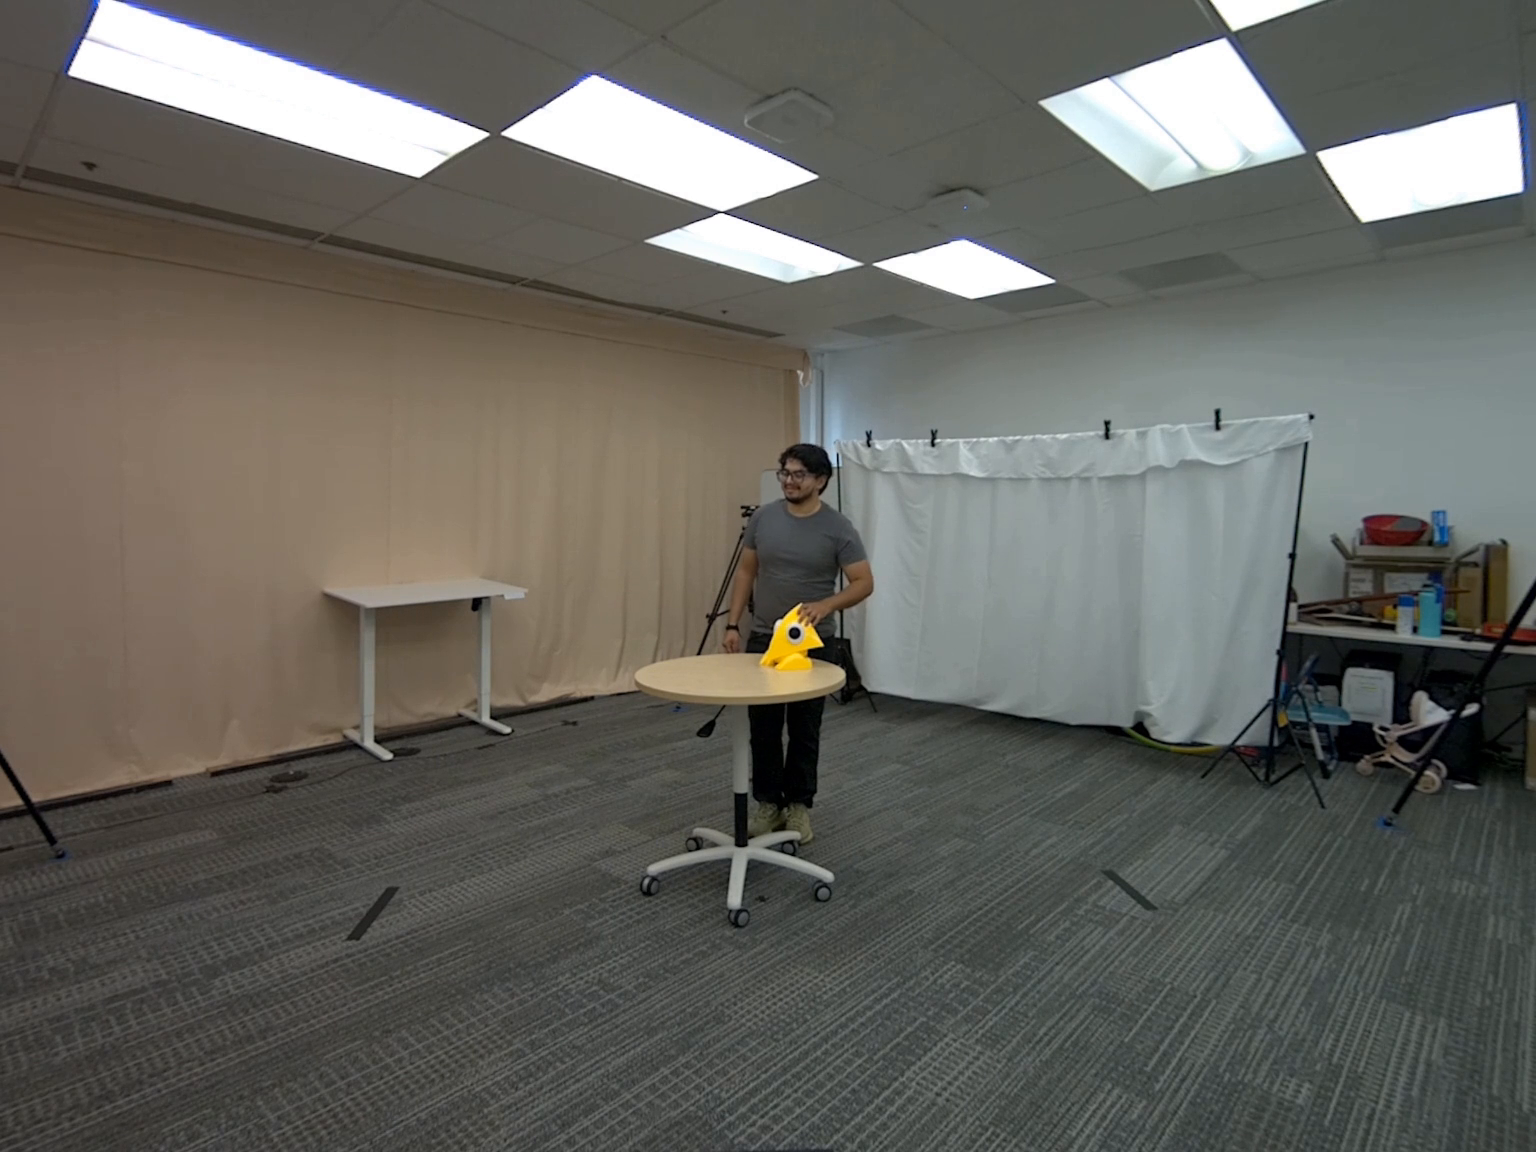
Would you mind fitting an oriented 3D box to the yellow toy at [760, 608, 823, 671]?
[{"bbox_3d":[0.075,0.224,3.201,0.188,0.230,0.211,-2,5,-29],"label":"yellow toy"}]
